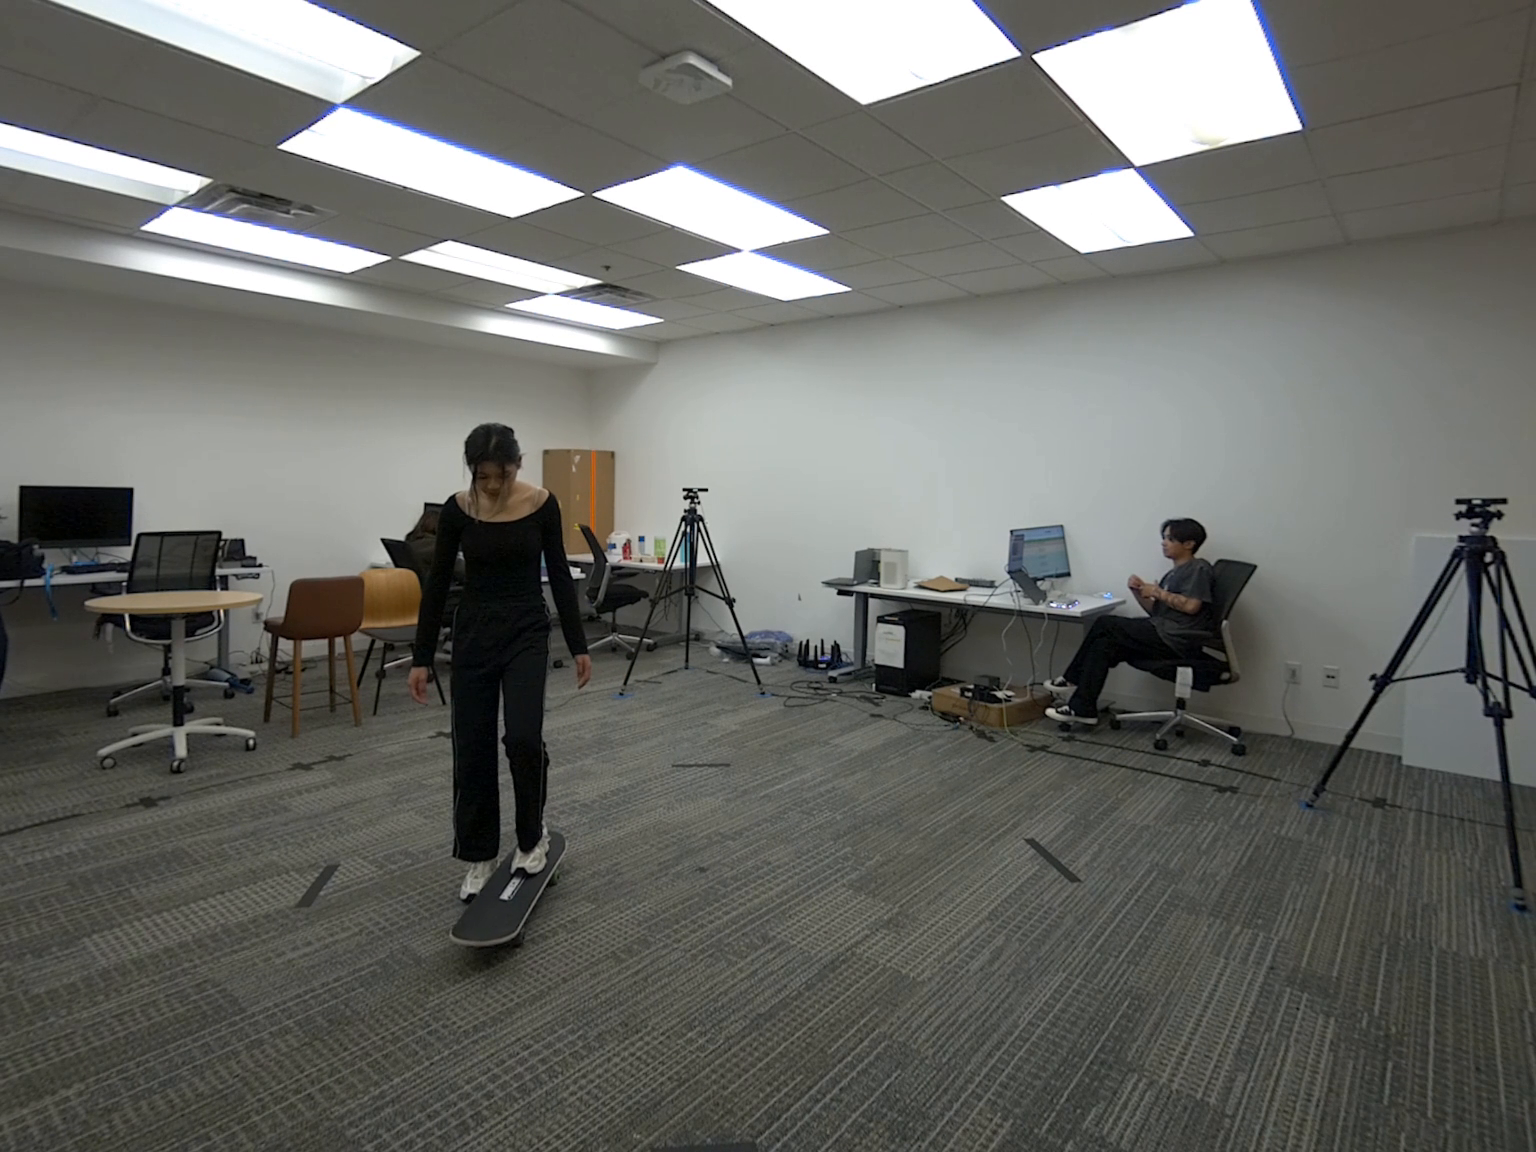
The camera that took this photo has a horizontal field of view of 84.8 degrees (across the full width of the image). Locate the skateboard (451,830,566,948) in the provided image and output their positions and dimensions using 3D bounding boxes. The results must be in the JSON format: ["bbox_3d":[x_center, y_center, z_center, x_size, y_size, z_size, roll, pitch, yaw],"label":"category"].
[{"bbox_3d":[-0.832,1.036,2.778,0.194,0.110,0.787,1,6,0],"label":"skateboard"}]
